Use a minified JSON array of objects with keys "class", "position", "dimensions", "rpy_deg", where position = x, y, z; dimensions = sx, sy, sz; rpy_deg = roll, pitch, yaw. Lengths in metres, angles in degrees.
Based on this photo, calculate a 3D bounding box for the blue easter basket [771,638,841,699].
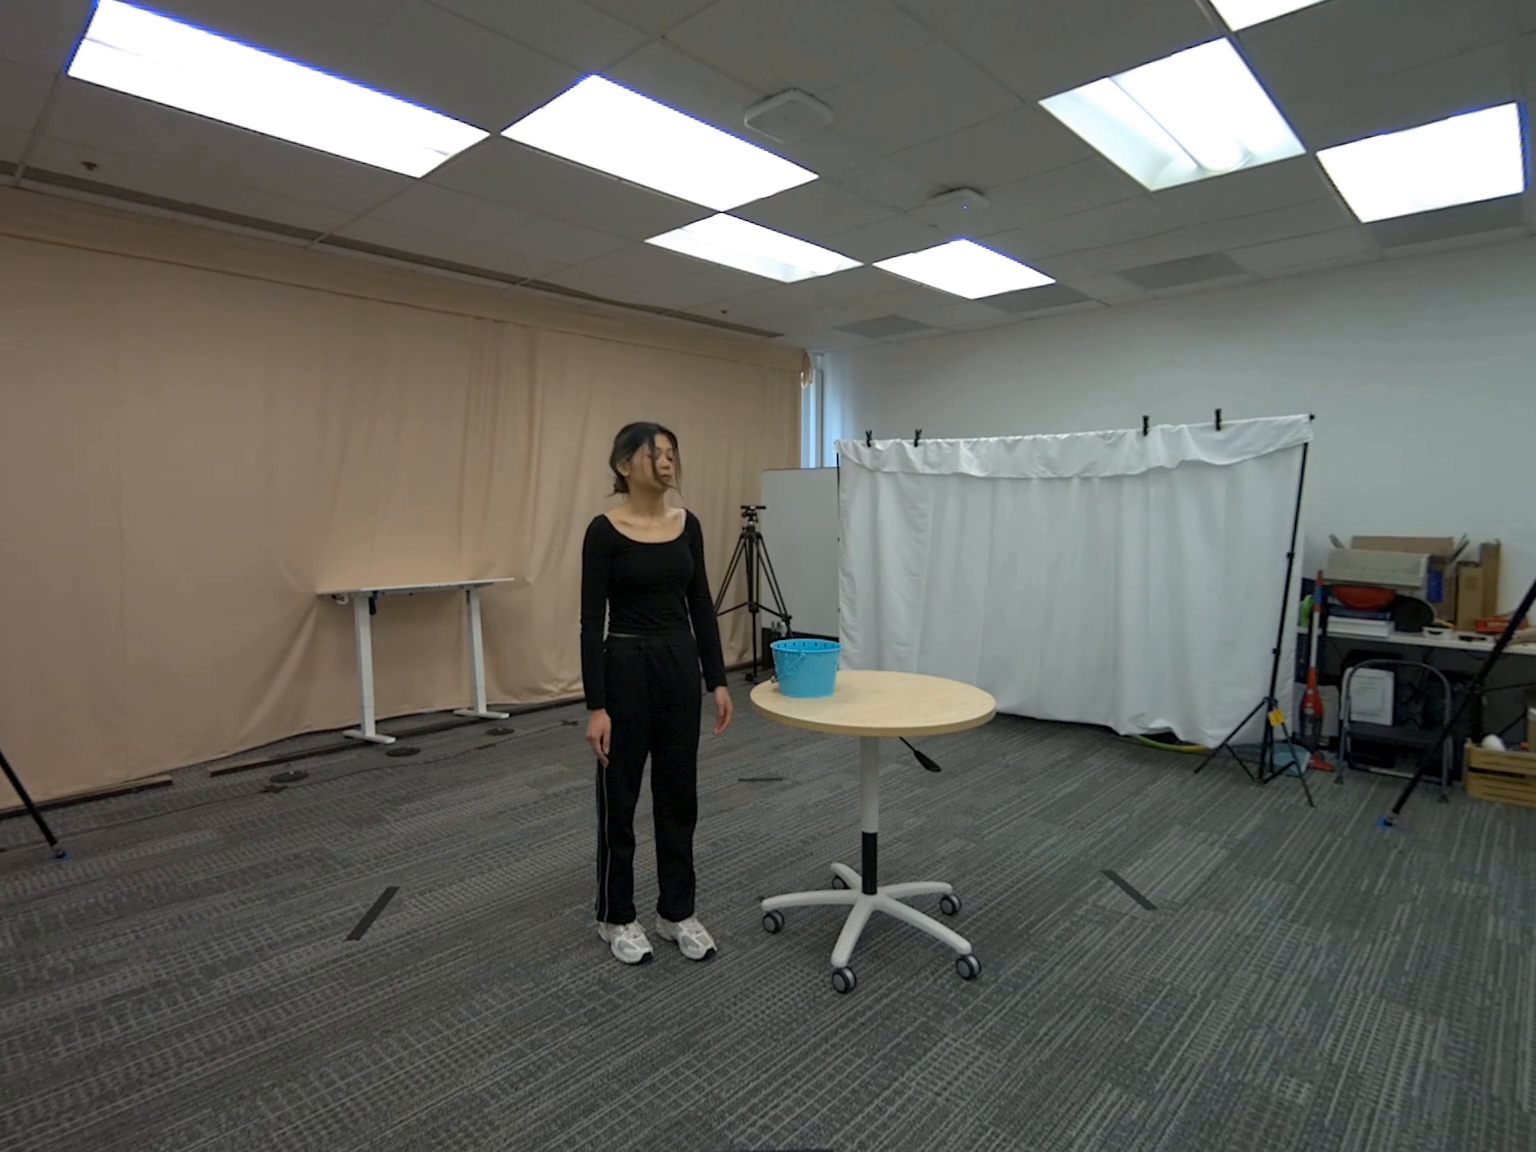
[{"class":"blue easter basket","position":[0.132,0.305,2.742],"dimensions":[0.243,0.155,0.245],"rpy_deg":[1,6,-2]}]
